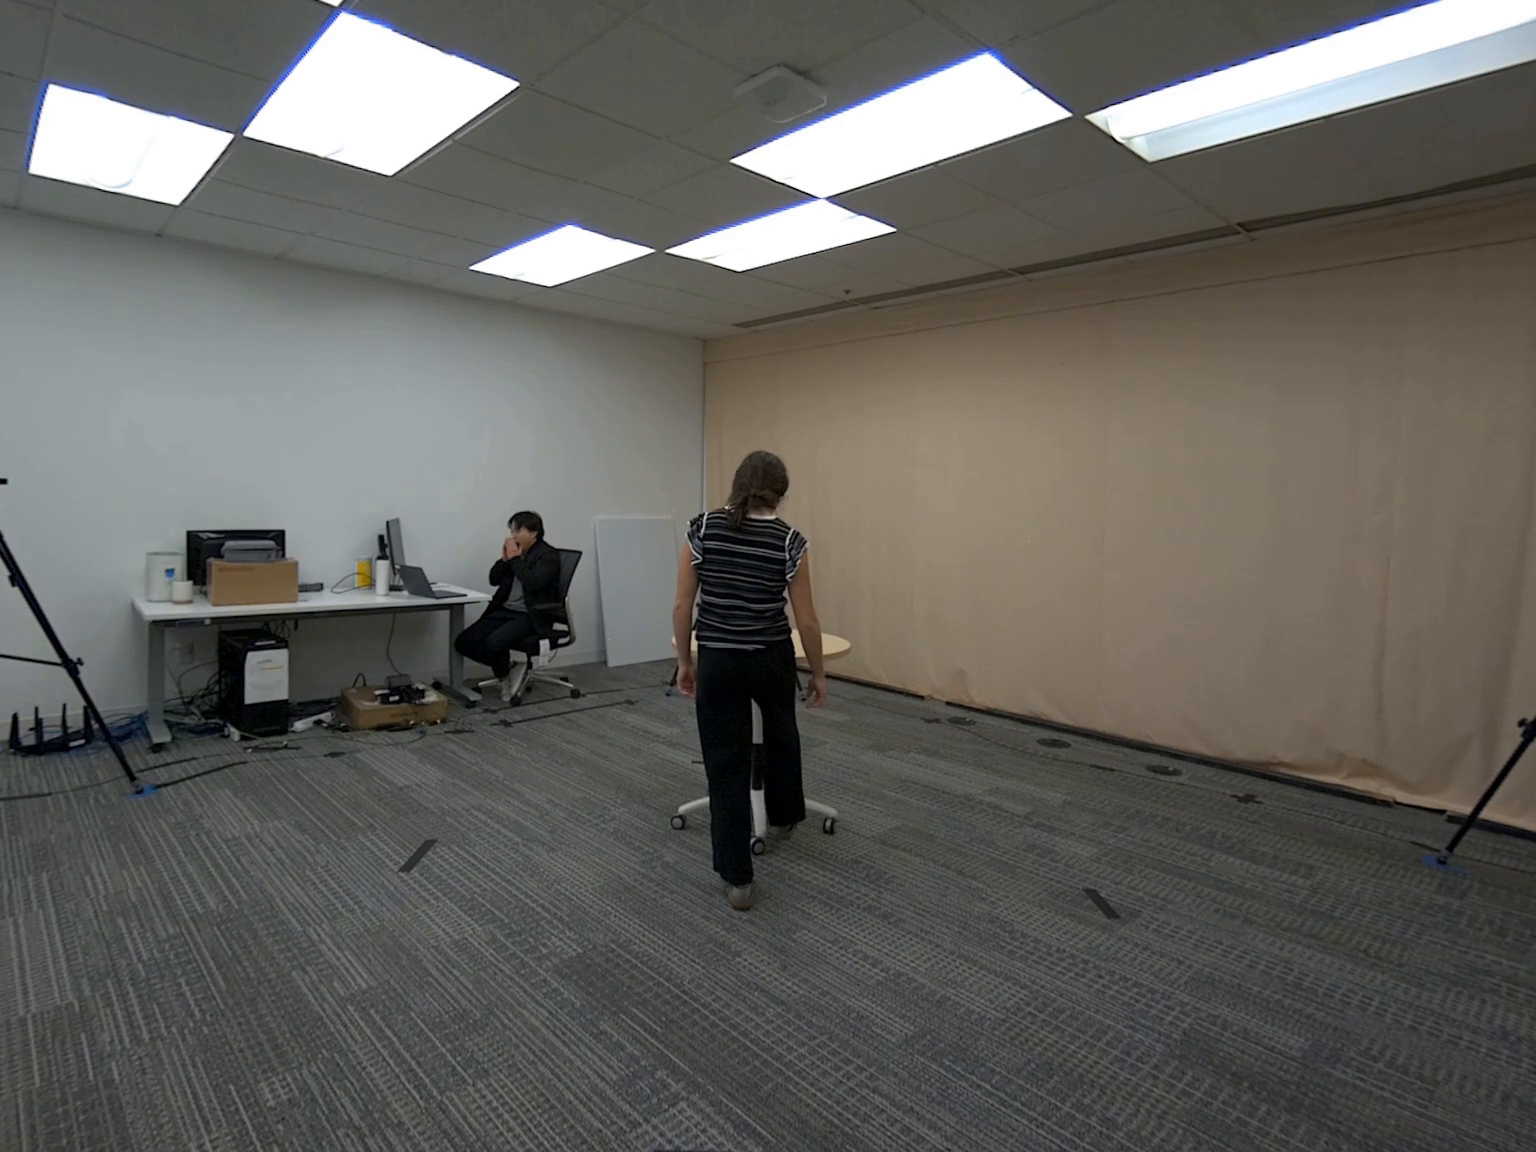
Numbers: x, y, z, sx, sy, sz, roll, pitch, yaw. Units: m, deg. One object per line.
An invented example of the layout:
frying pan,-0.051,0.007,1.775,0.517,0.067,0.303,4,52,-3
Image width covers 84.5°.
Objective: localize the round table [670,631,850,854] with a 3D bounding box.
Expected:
round table,-0.038,0.672,3.637,0.784,0.784,0.787,1,4,-1
